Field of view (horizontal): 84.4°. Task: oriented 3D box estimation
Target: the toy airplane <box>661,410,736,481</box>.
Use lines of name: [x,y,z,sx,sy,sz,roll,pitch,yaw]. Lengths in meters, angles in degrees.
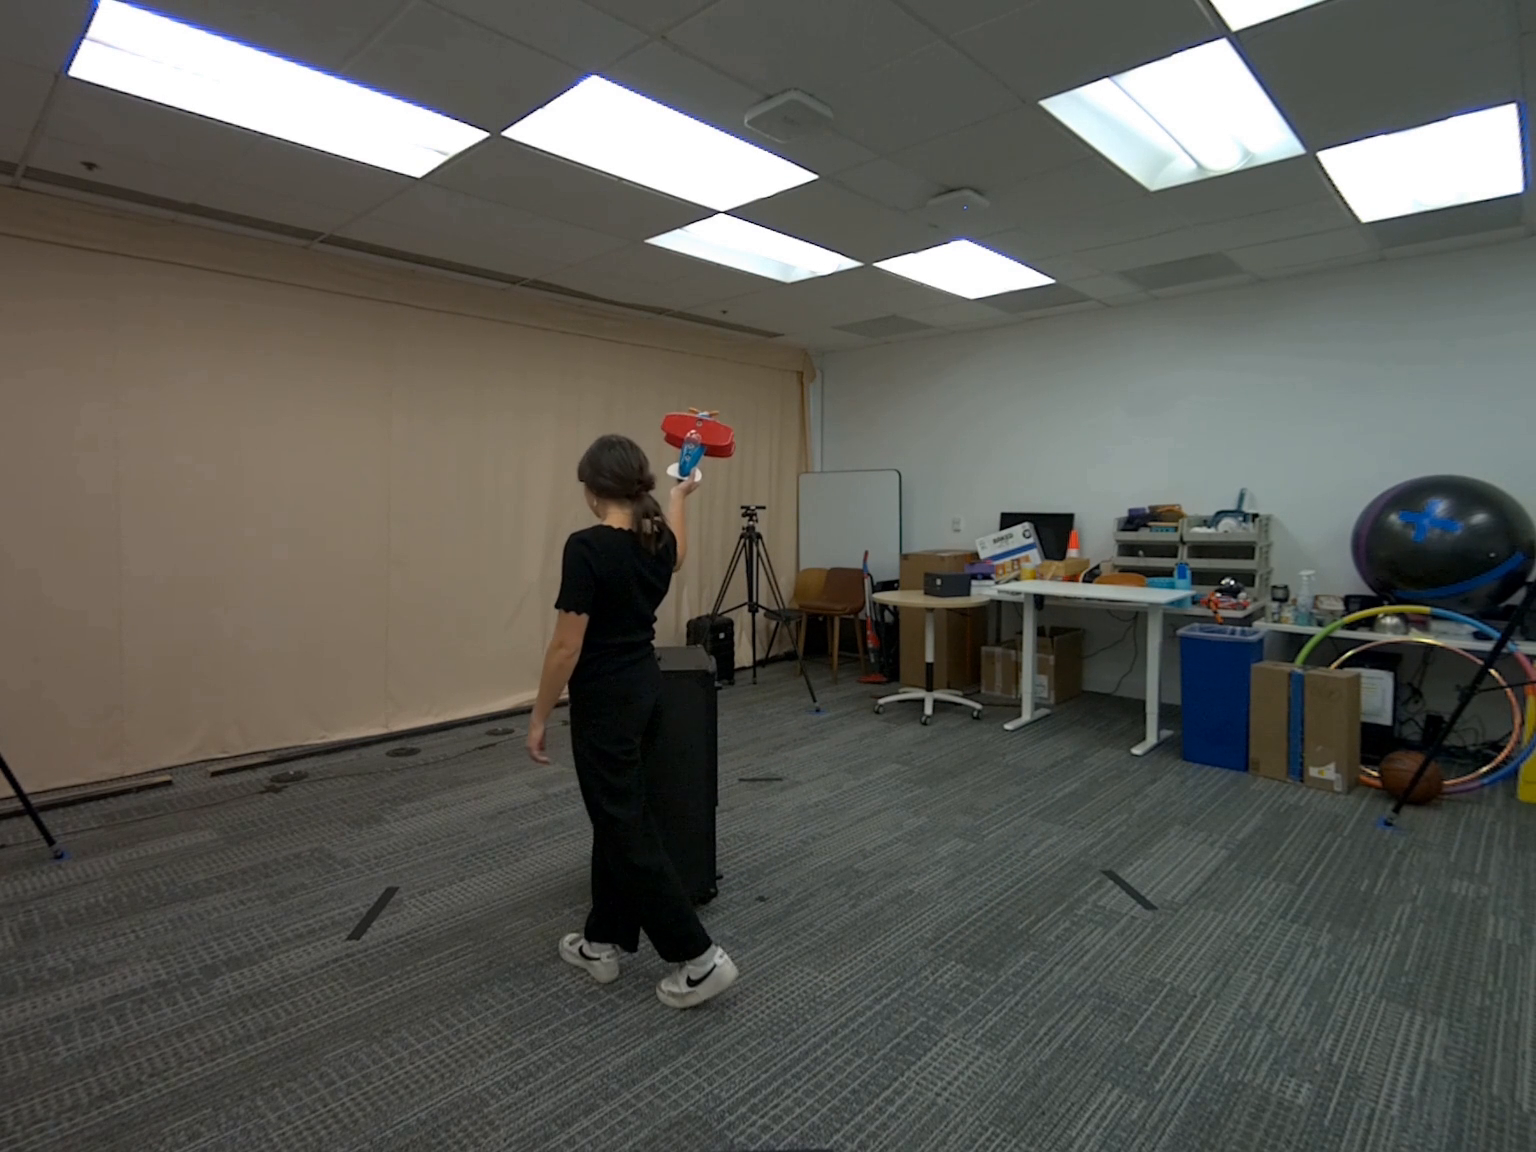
toy airplane: [-0.230,-0.445,2.889,0.250,0.265,0.153,-9,-35,-5]
